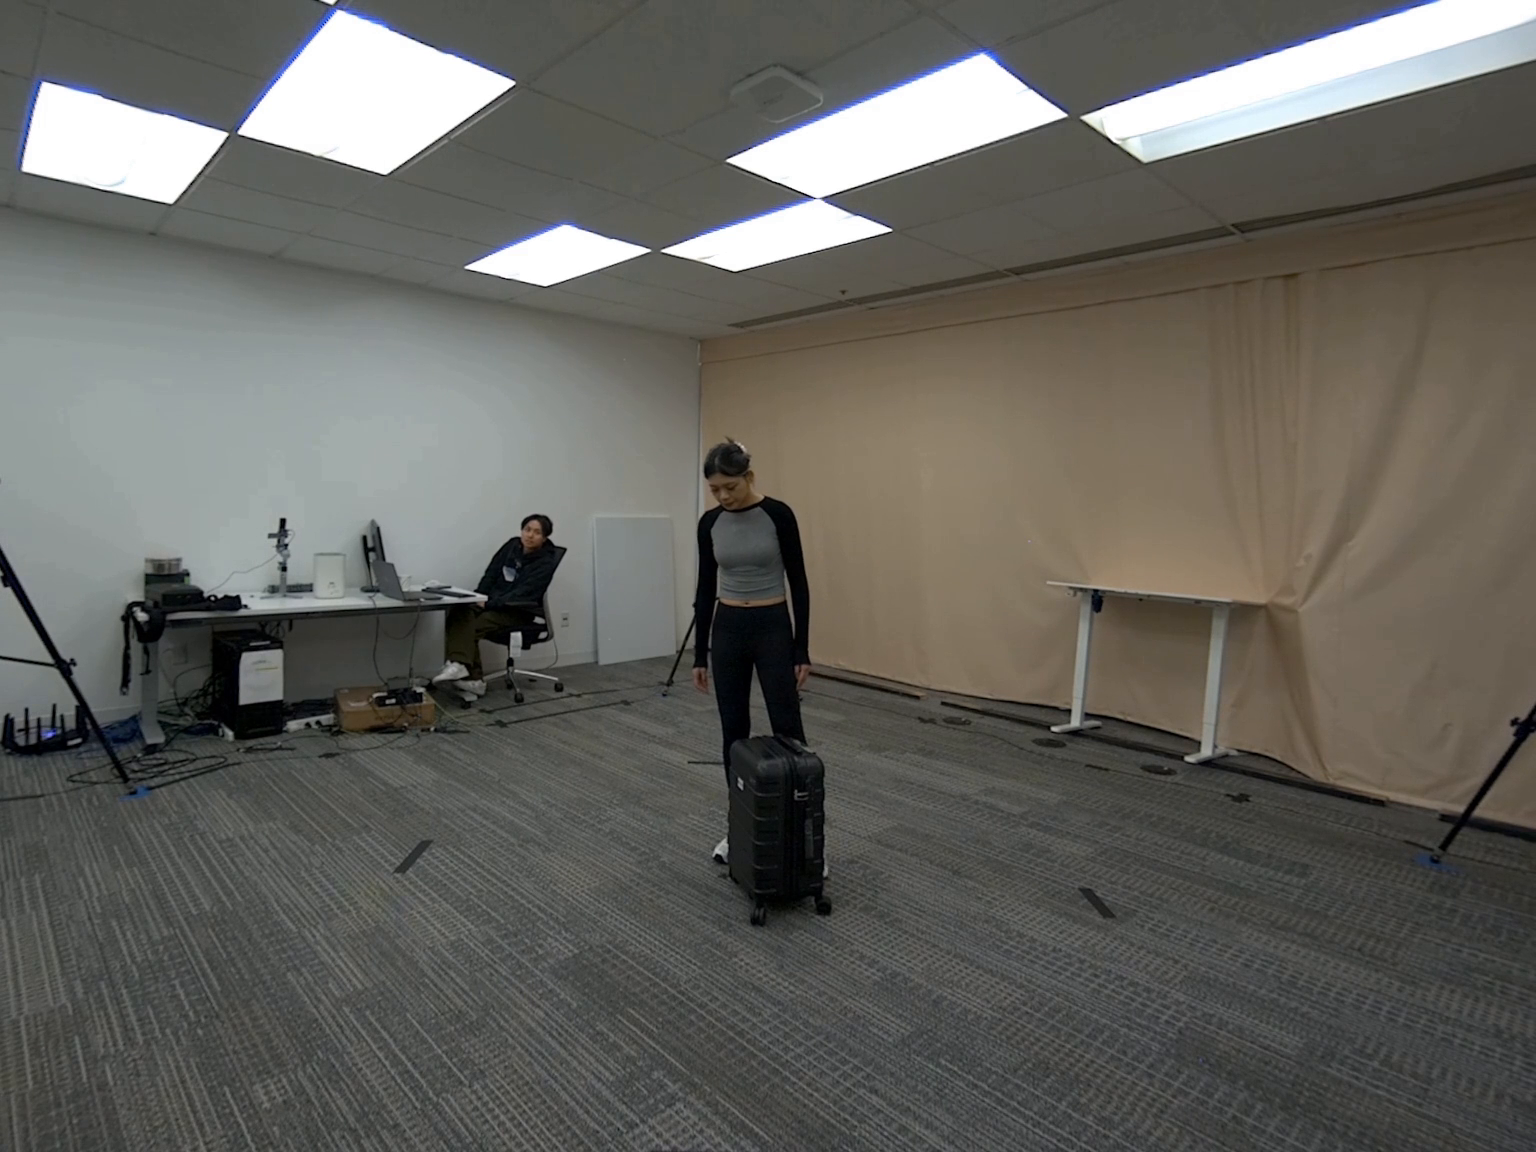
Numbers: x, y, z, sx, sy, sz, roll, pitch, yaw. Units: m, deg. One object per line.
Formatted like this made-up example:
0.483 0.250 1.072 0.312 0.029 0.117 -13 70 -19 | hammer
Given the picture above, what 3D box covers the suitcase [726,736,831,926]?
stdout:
0.020 0.848 2.929 0.245 0.548 0.381 0 4 -19 | suitcase
